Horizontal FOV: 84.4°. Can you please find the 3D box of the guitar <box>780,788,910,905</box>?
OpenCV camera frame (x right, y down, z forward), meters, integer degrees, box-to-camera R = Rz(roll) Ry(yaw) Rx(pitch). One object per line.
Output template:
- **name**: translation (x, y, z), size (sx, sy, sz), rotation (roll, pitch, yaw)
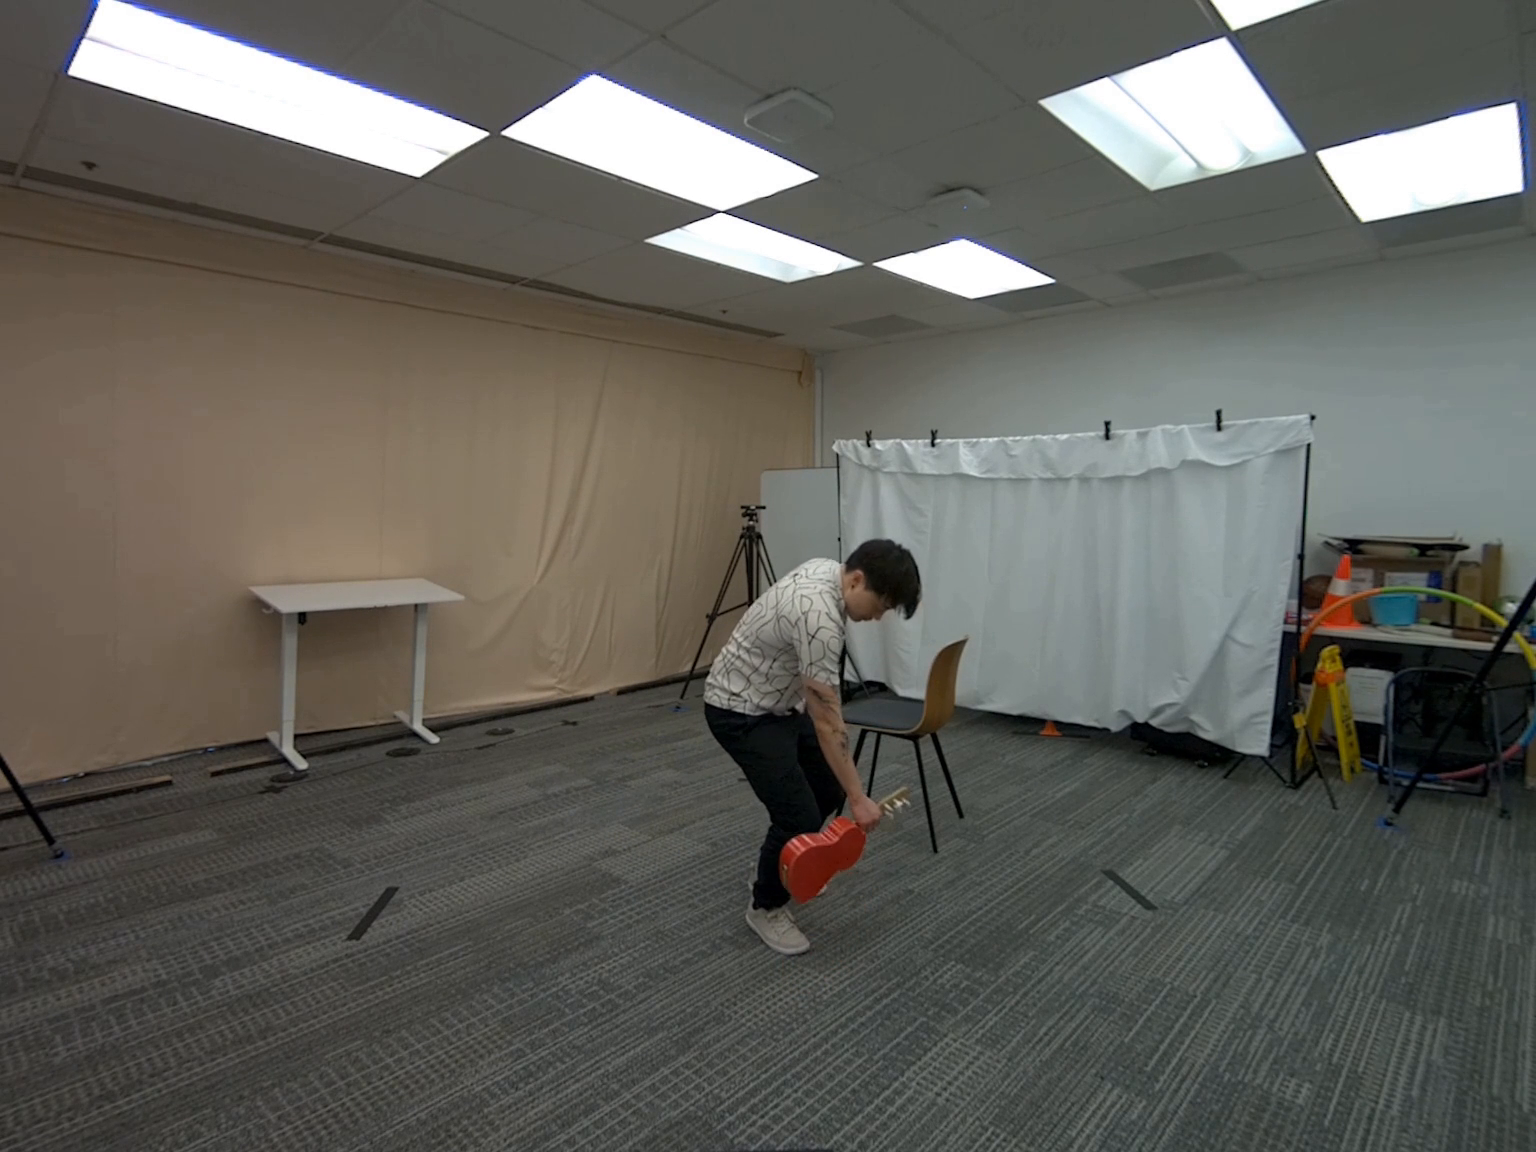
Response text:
- **guitar**: translation (0.238, 0.745, 2.476), size (0.492, 0.188, 0.073), rotation (-32, 33, -22)
